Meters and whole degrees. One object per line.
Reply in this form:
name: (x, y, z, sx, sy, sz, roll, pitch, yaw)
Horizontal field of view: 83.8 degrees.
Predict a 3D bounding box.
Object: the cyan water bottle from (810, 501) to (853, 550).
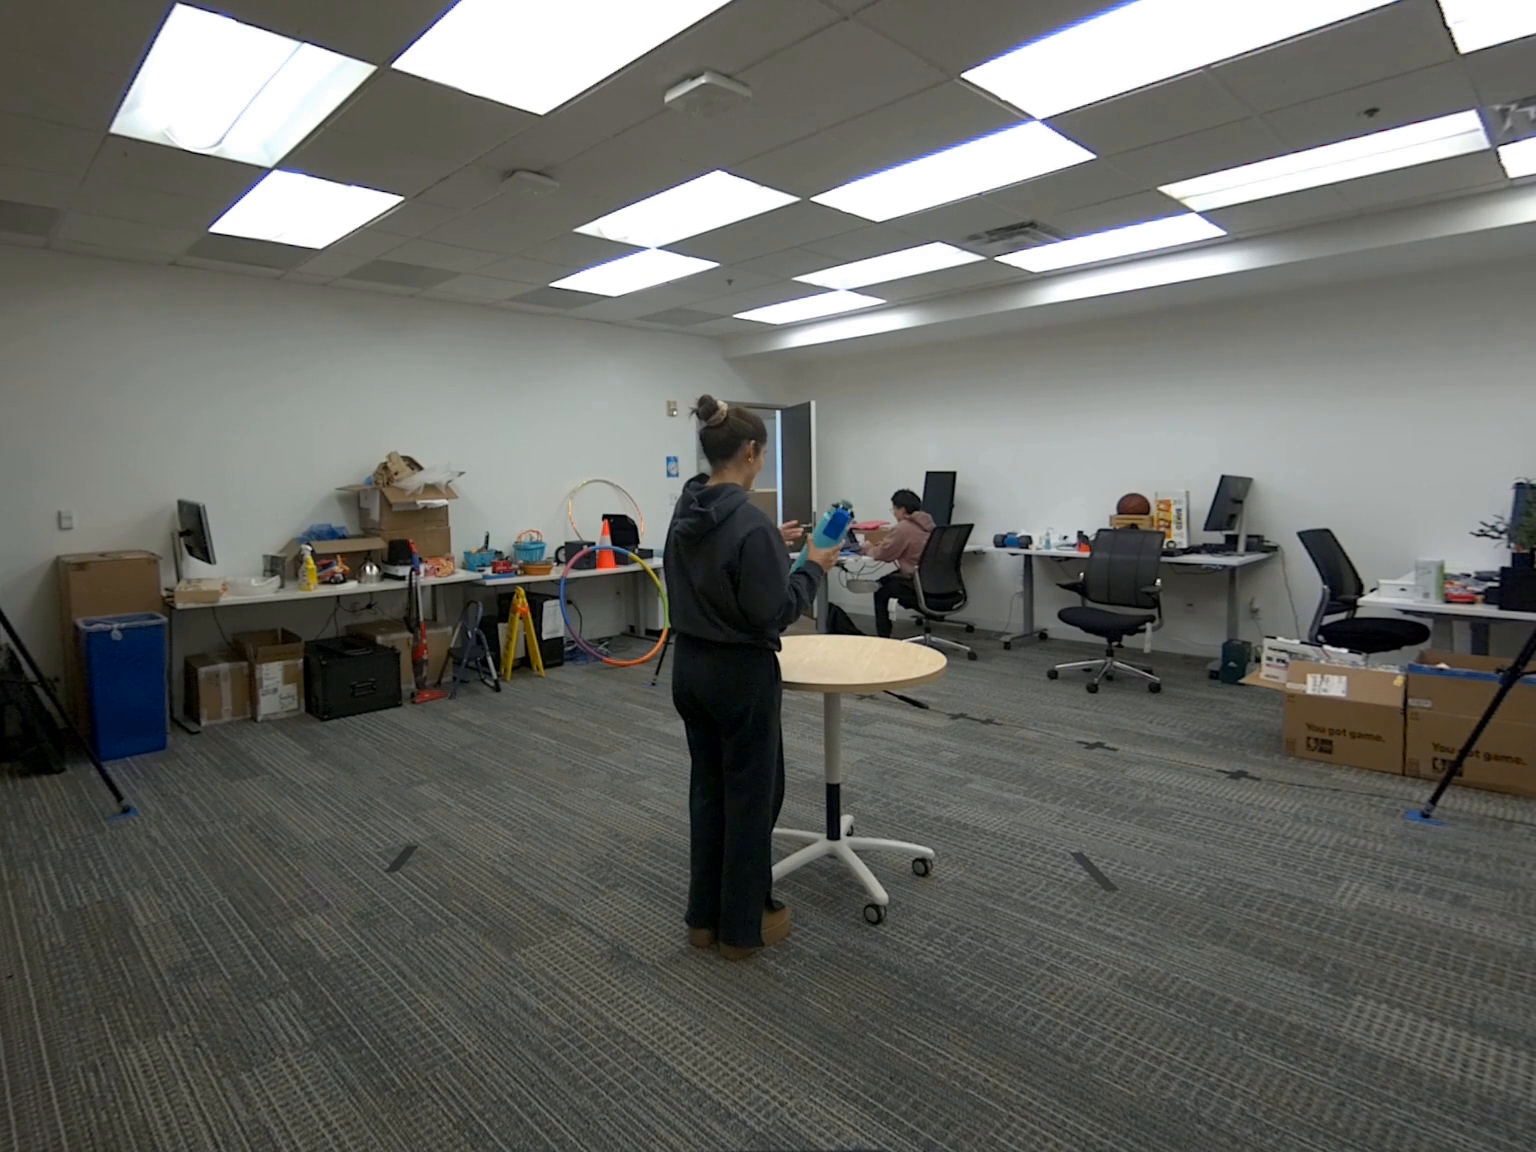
cyan water bottle: (0.159, -0.101, 2.552, 0.091, 0.282, 0.094, 27, 17, -11)
